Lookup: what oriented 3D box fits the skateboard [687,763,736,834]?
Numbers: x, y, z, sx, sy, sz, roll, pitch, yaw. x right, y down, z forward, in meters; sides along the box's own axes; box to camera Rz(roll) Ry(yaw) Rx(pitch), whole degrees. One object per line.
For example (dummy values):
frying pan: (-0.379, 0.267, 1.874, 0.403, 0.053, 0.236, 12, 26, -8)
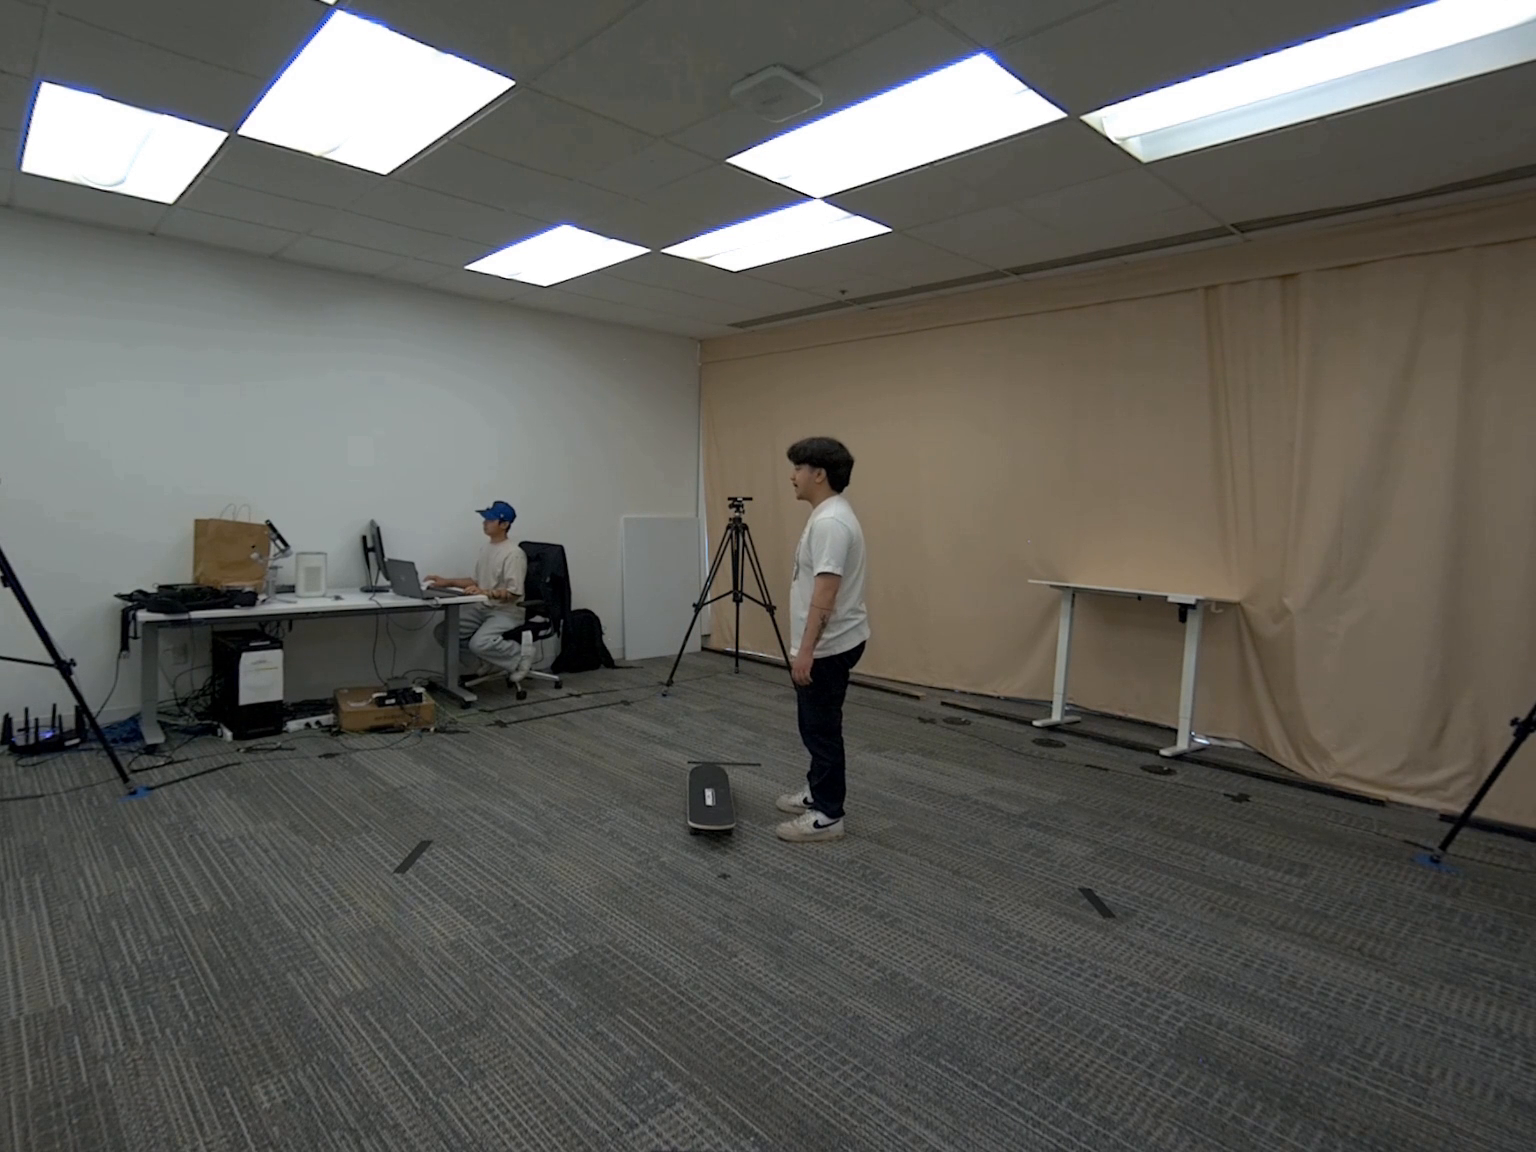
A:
skateboard: (-0.262, 0.995, 3.685, 0.193, 0.110, 0.791, 0, 5, -6)
